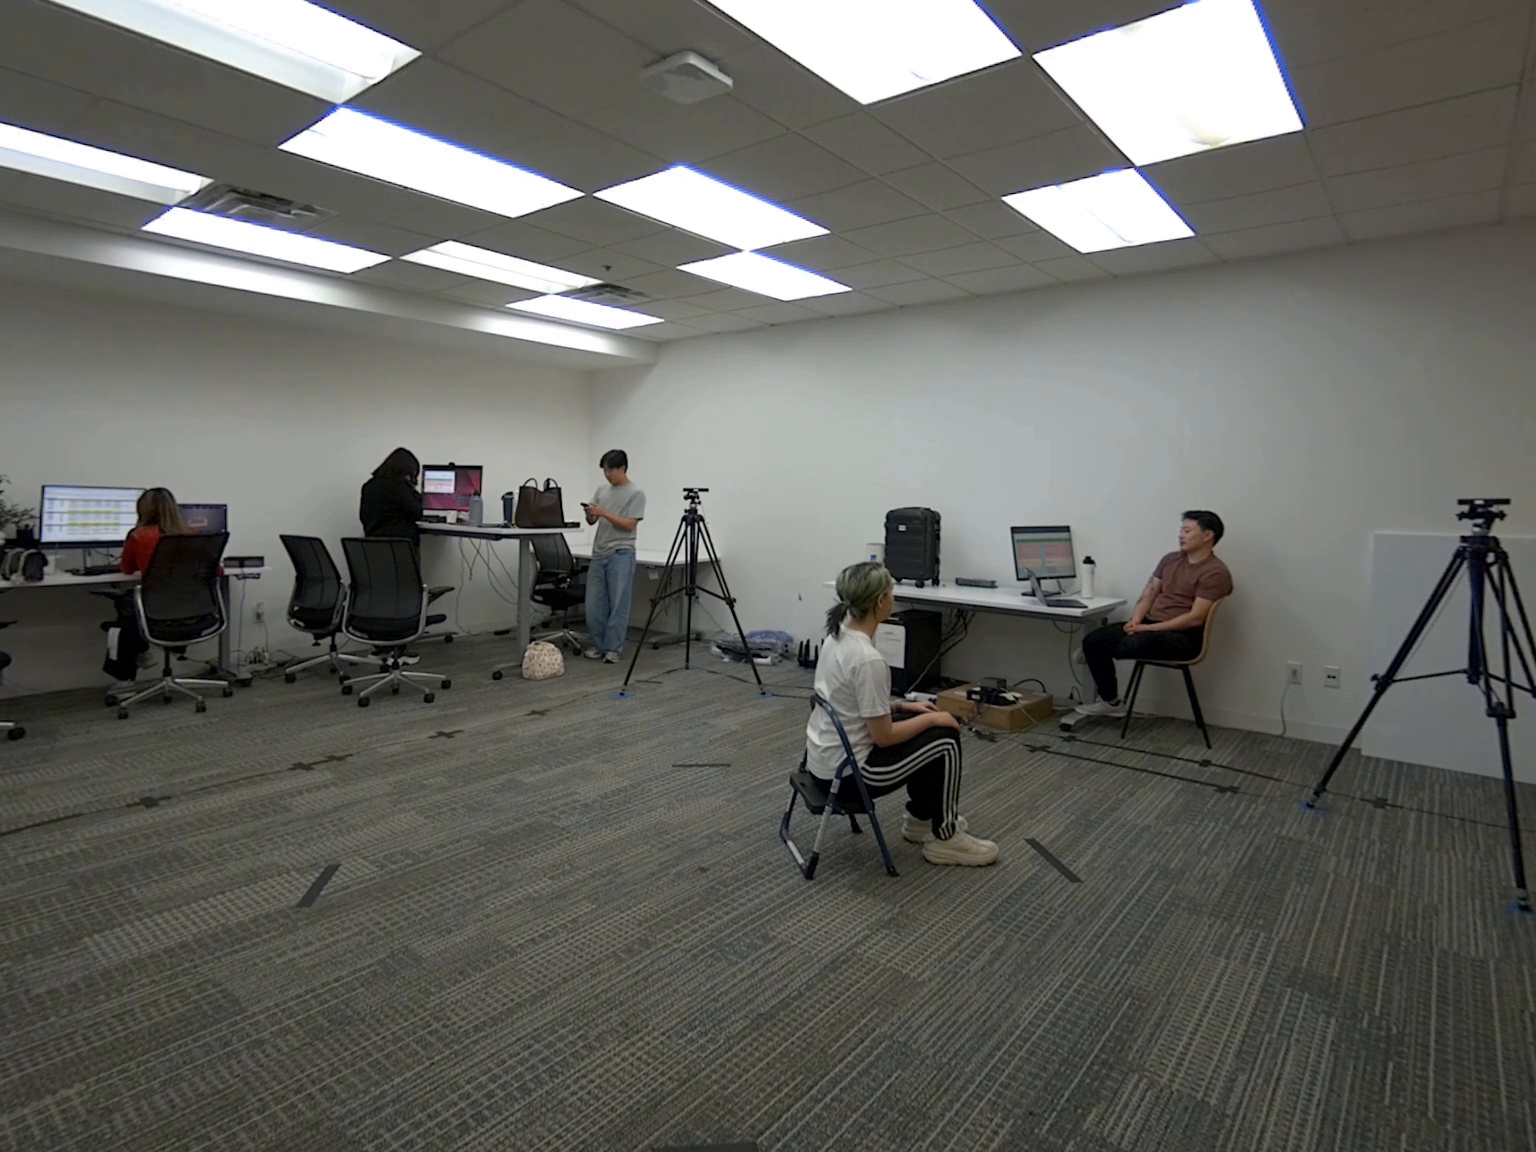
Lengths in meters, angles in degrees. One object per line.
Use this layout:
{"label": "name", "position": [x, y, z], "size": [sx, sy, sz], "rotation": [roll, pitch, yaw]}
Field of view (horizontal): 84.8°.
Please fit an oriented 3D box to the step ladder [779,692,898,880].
{"label": "step ladder", "position": [0.257, 0.770, 3.257], "size": [0.345, 0.604, 0.437], "rotation": [2, 4, -12]}
